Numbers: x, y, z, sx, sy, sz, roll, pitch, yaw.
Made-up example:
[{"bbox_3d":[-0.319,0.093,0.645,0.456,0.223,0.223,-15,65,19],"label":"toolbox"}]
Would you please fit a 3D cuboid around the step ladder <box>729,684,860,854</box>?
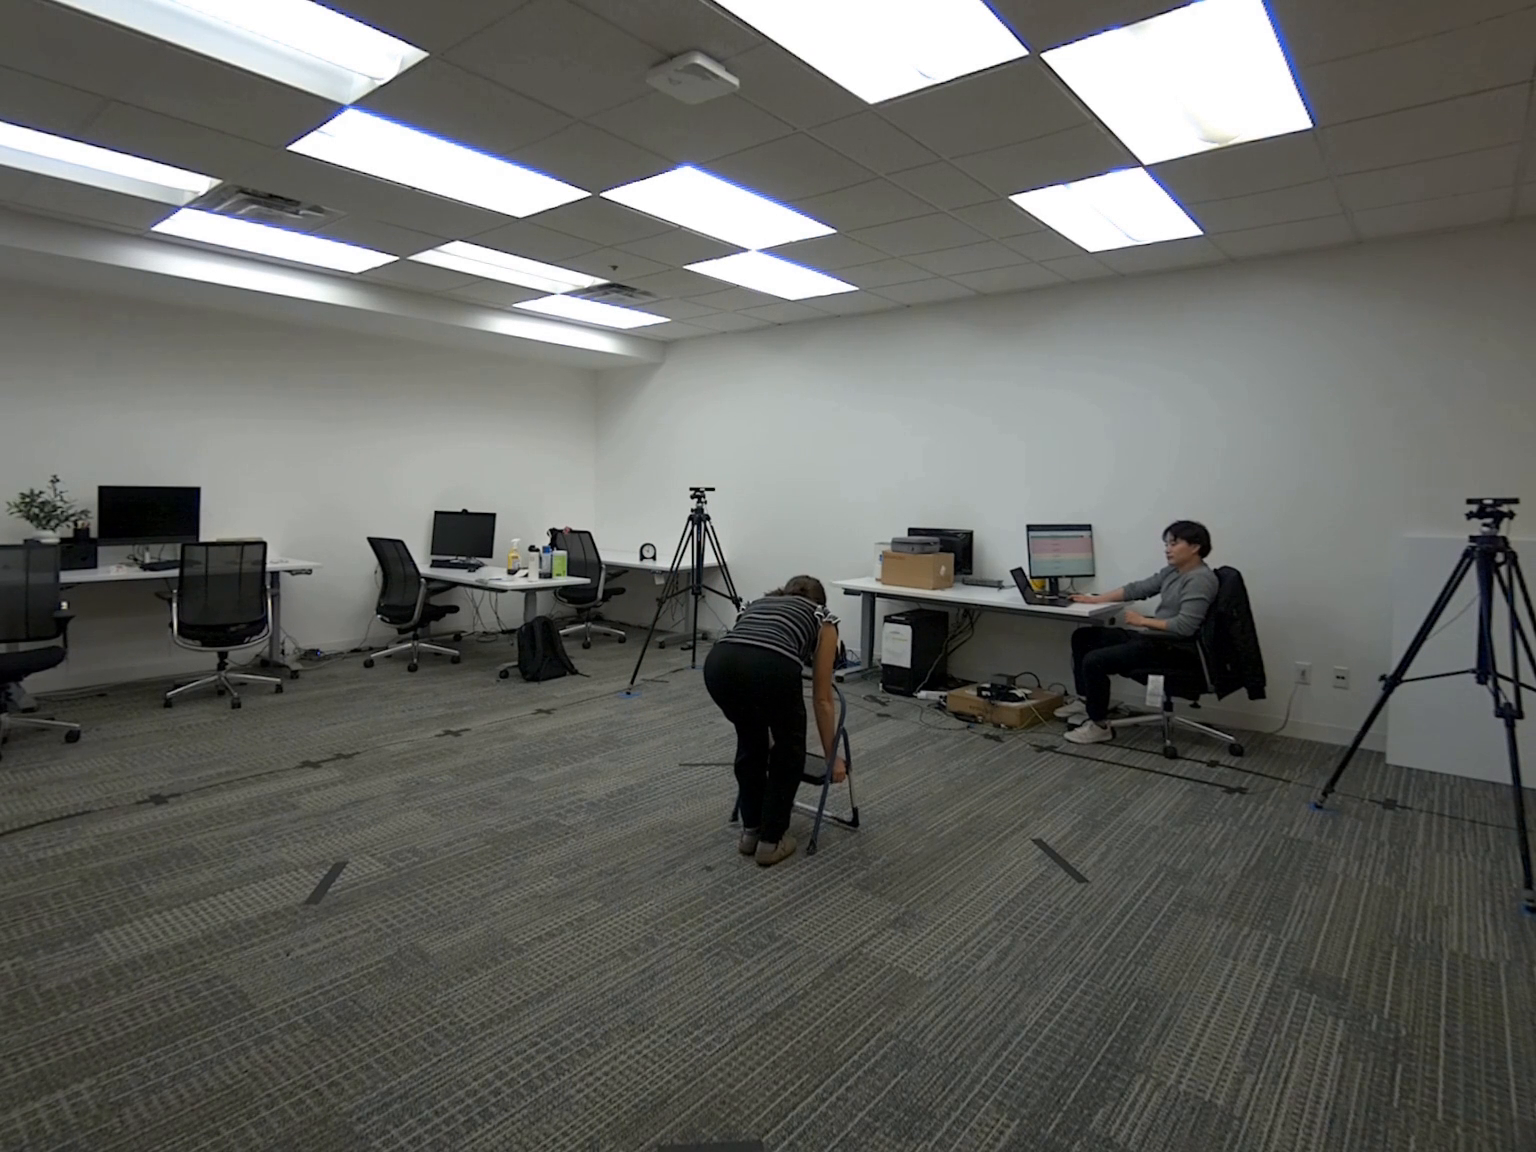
[{"bbox_3d":[0.112,0.707,3.491,0.445,0.605,0.338,4,3,40],"label":"step ladder"}]
